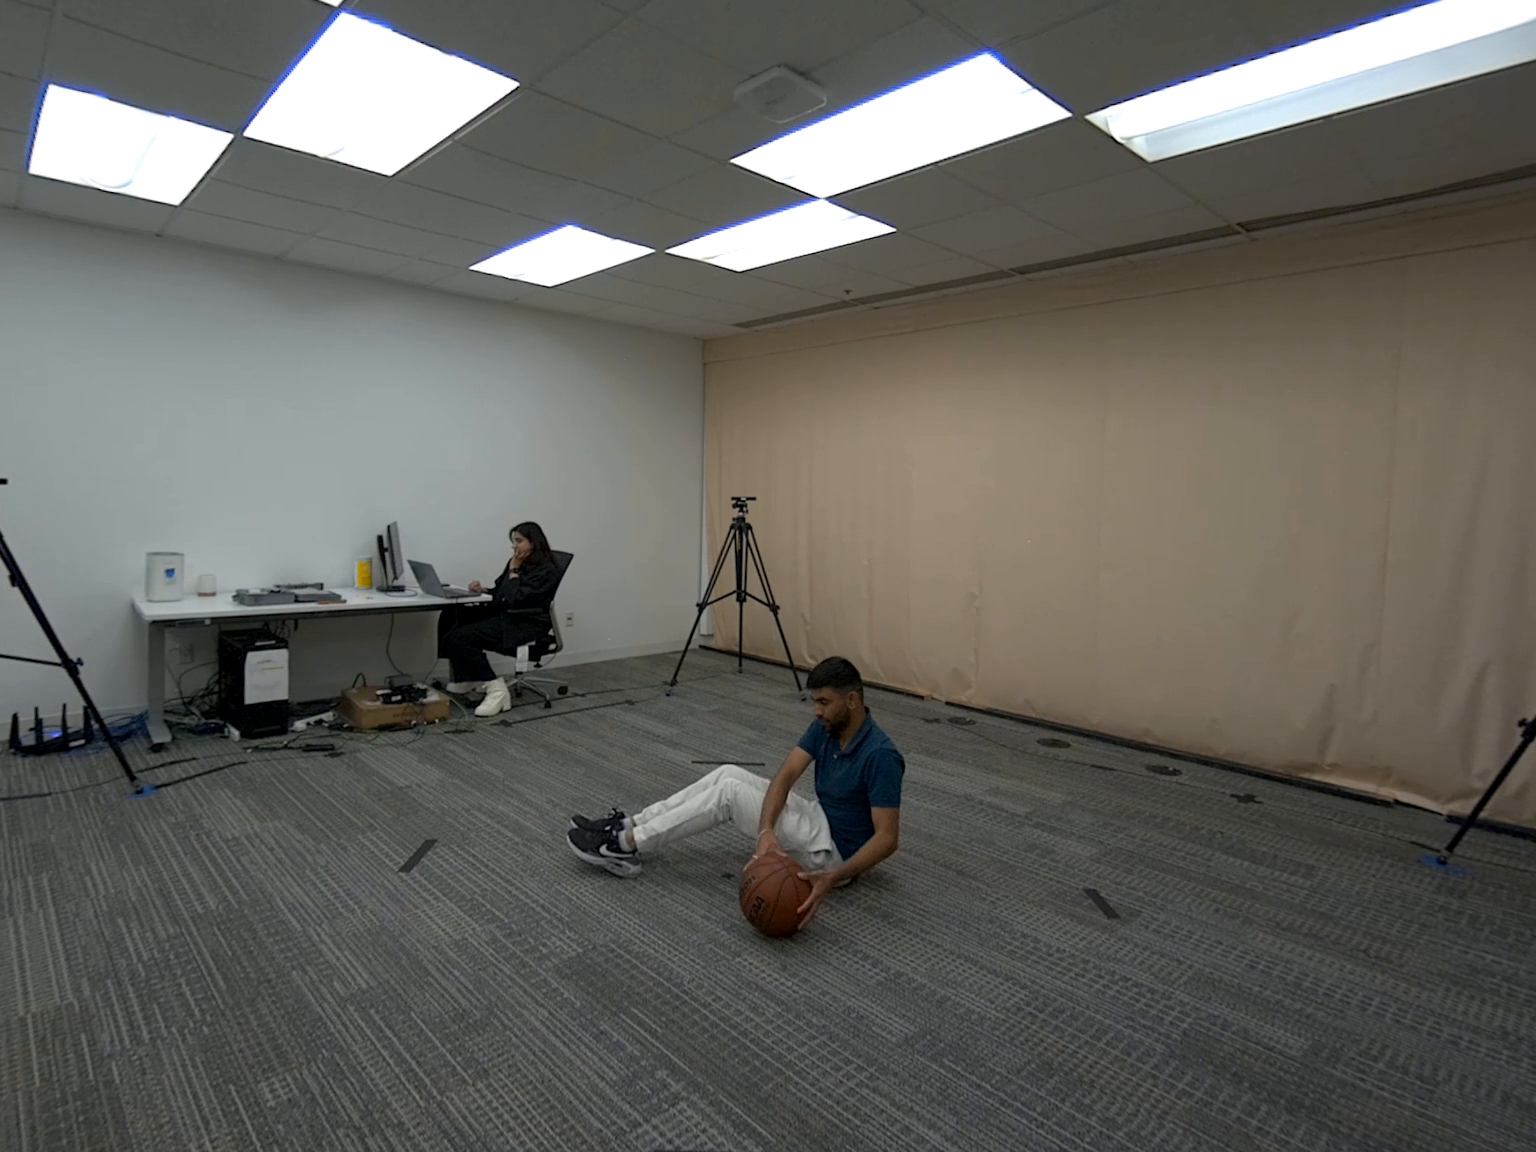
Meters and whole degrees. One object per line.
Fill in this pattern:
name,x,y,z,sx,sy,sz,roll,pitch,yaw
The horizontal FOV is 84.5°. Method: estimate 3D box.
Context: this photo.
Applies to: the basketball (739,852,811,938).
basketball,0.005,1.001,2.690,0.236,0.235,0.237,1,4,-1
